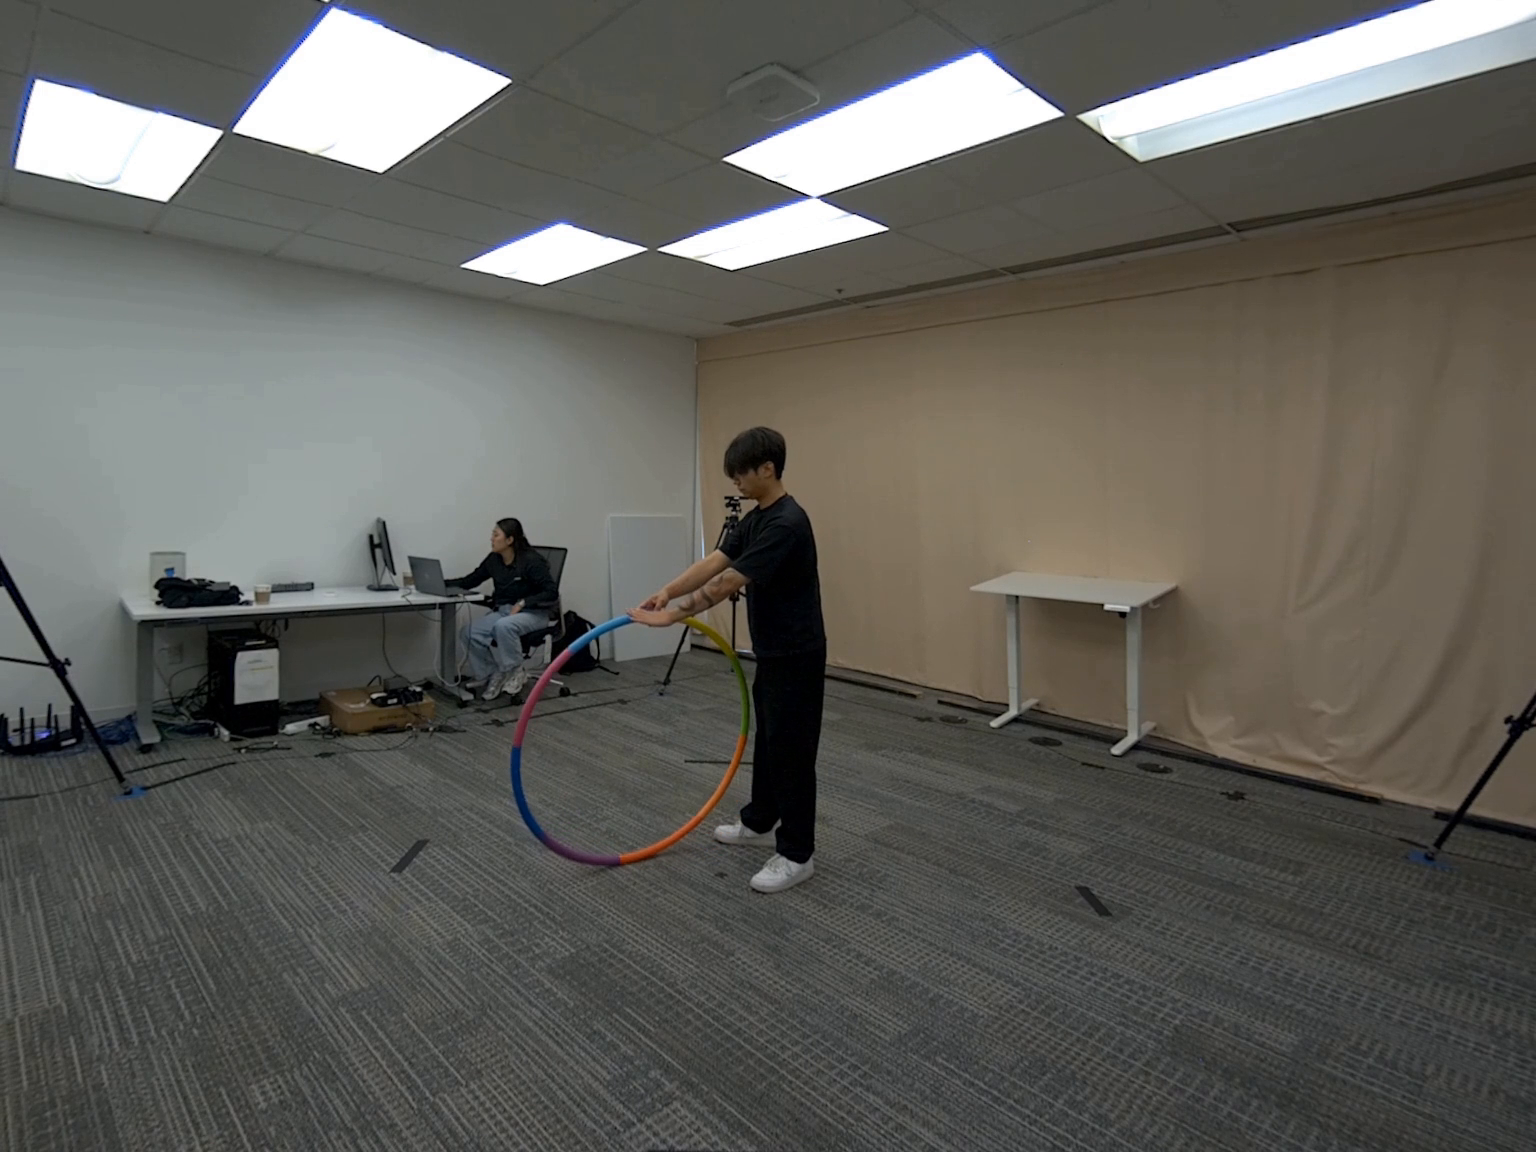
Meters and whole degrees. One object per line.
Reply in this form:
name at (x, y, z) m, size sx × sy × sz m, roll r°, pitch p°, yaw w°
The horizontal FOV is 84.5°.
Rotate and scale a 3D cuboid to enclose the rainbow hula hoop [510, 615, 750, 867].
rainbow hula hoop at (-0.487, 0.613, 3.118) m, size 0.957 × 0.972 × 0.036 m, roll -2°, pitch 12°, yaw -35°
